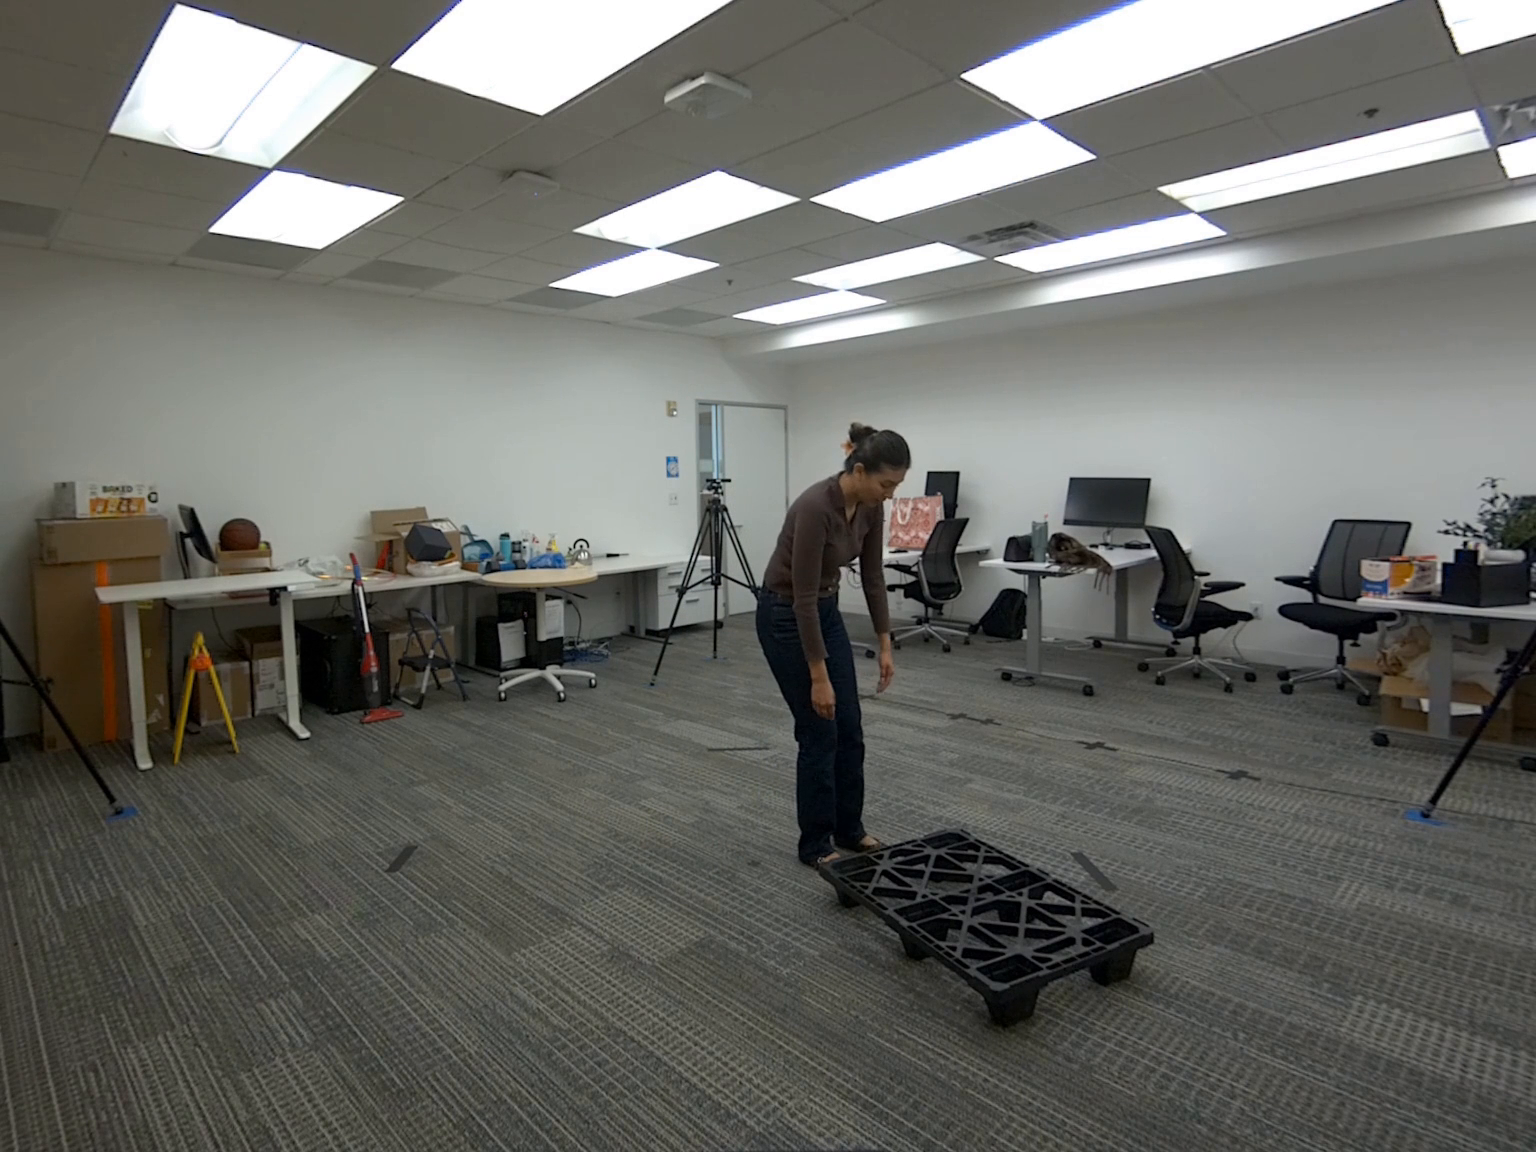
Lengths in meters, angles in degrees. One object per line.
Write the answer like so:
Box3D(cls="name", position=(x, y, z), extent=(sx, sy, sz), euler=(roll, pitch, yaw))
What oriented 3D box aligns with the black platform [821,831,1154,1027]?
Box3D(cls="black platform", position=(0.624, 1.026, 2.585), extent=(0.591, 0.142, 0.828), euler=(-4, 7, -28))
